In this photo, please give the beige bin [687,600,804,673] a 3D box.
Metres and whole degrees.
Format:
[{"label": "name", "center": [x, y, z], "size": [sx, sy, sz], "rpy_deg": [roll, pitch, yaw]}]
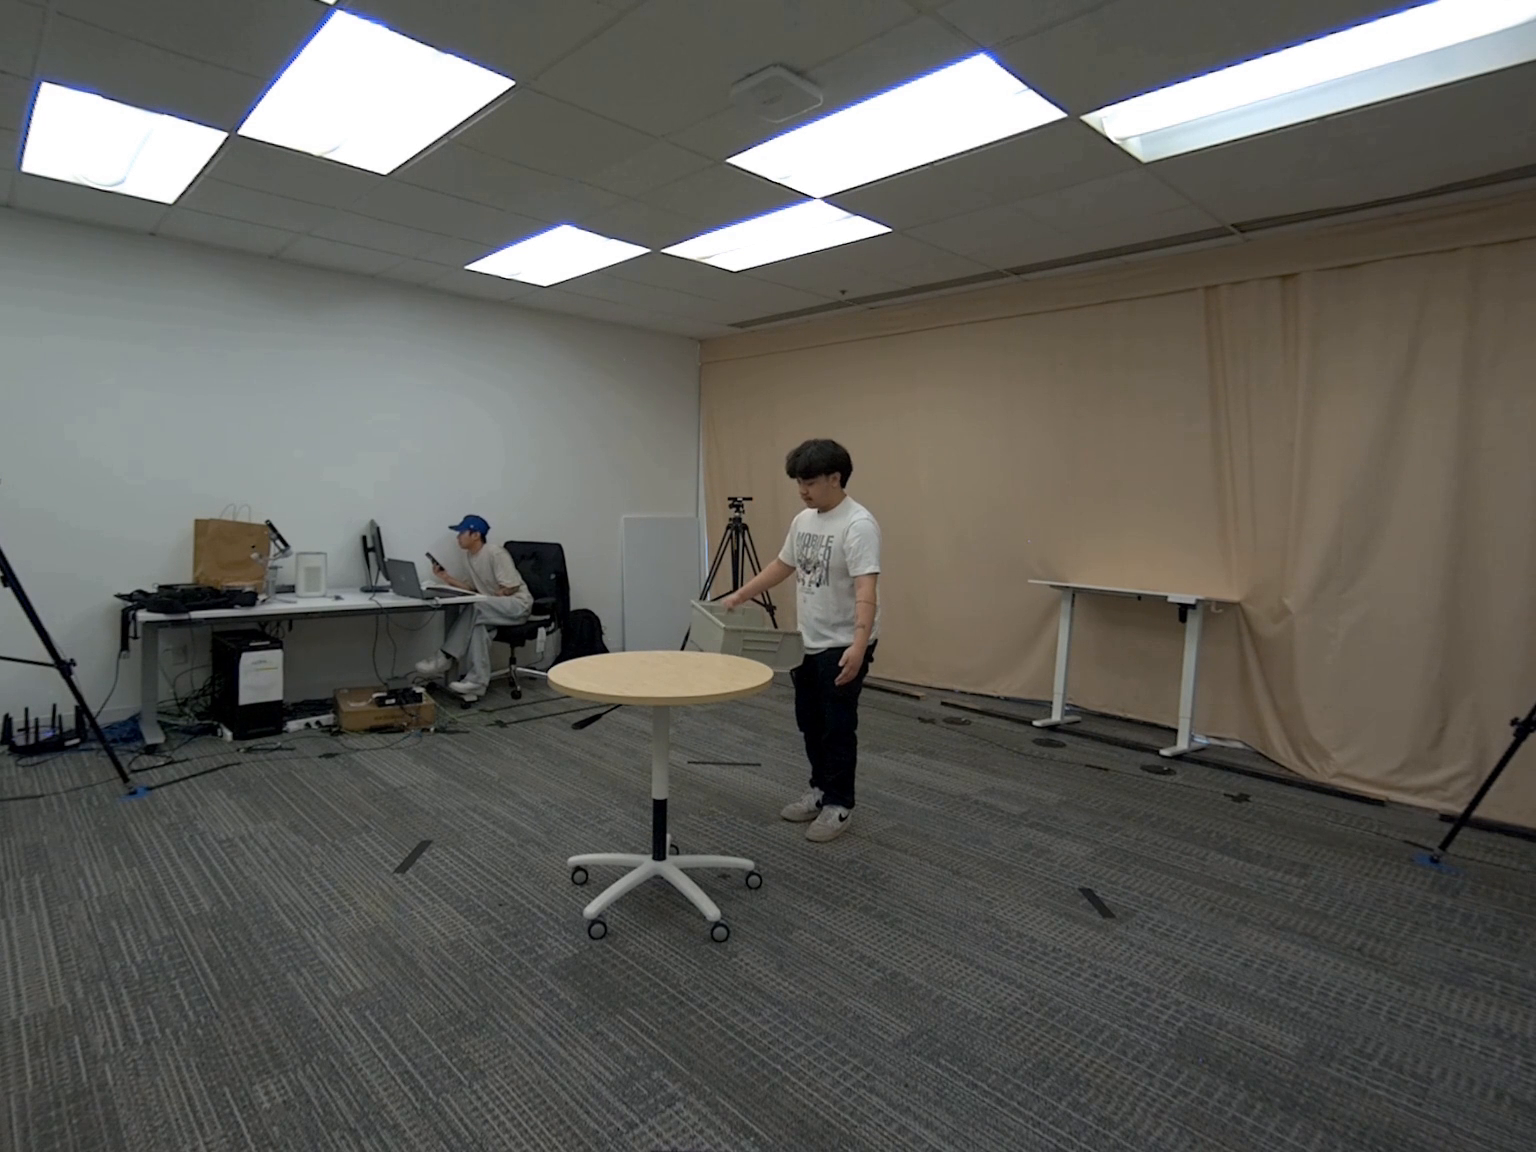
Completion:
[{"label": "beige bin", "center": [-0.102, 0.248, 3.558], "size": [0.370, 0.188, 0.432], "rpy_deg": [3, 11, -24]}]
